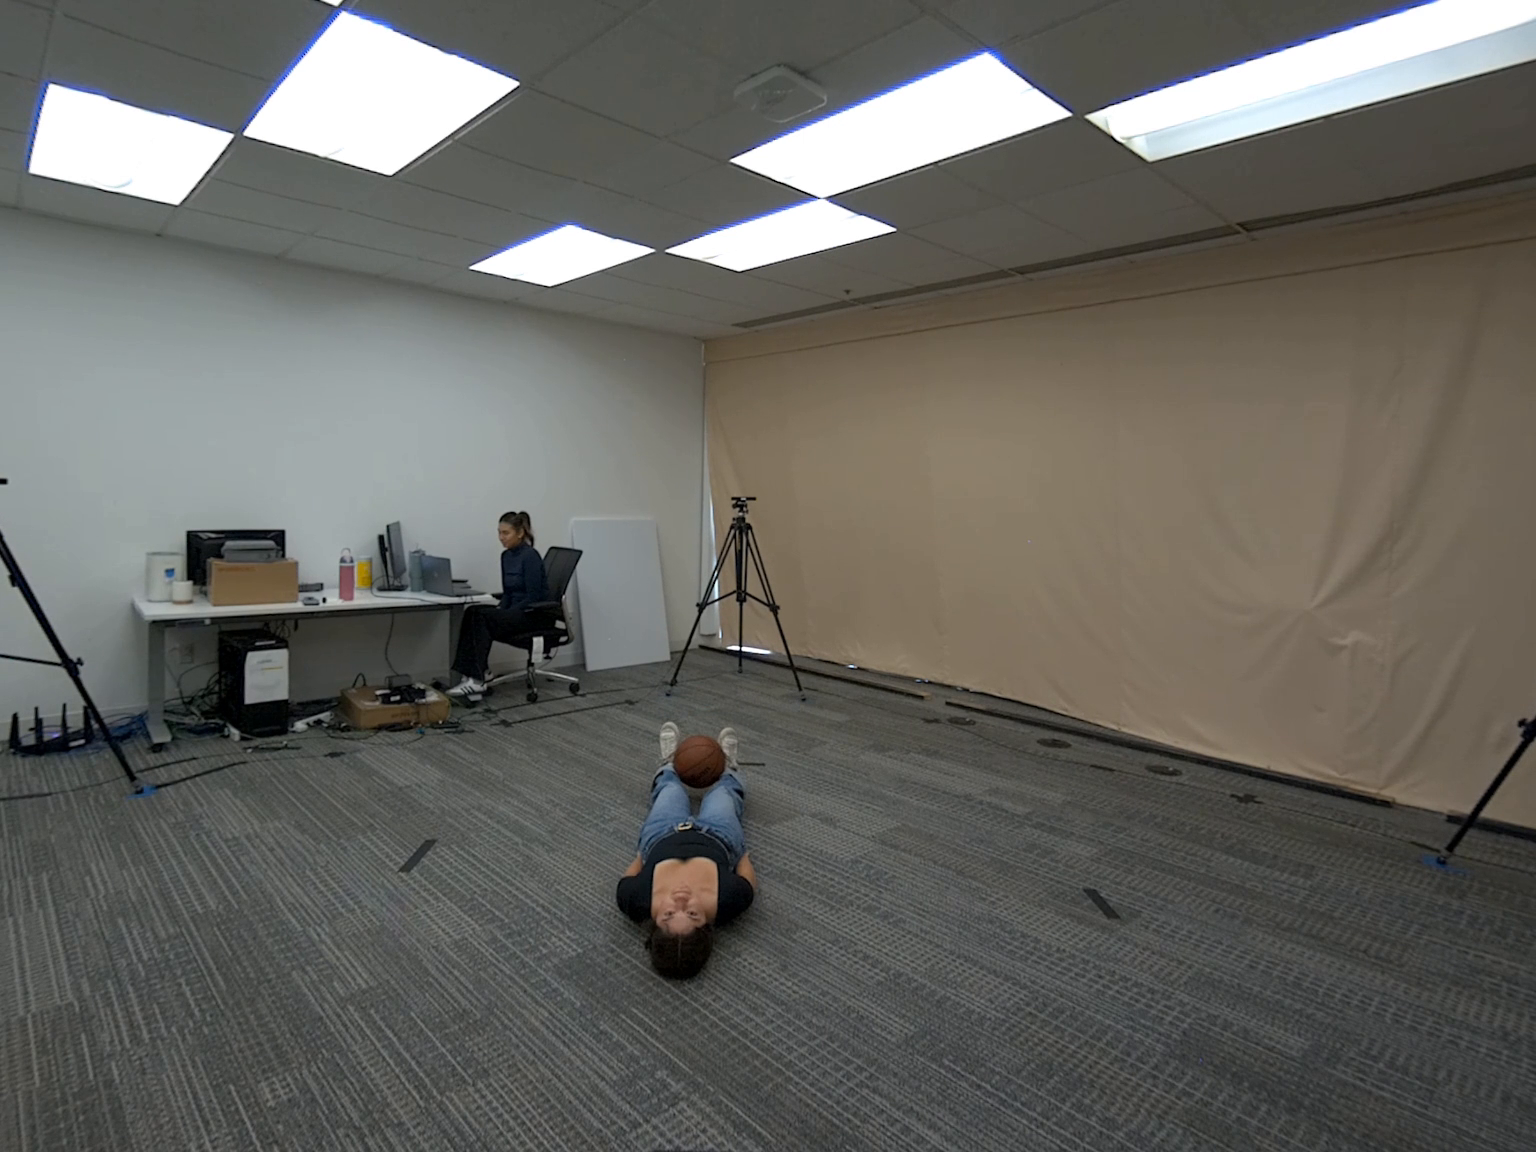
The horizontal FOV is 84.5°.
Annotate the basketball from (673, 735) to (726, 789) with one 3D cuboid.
[{"bbox_3d":[-0.327,0.848,3.867,0.236,0.235,0.237,1,4,-1],"label":"basketball"}]
